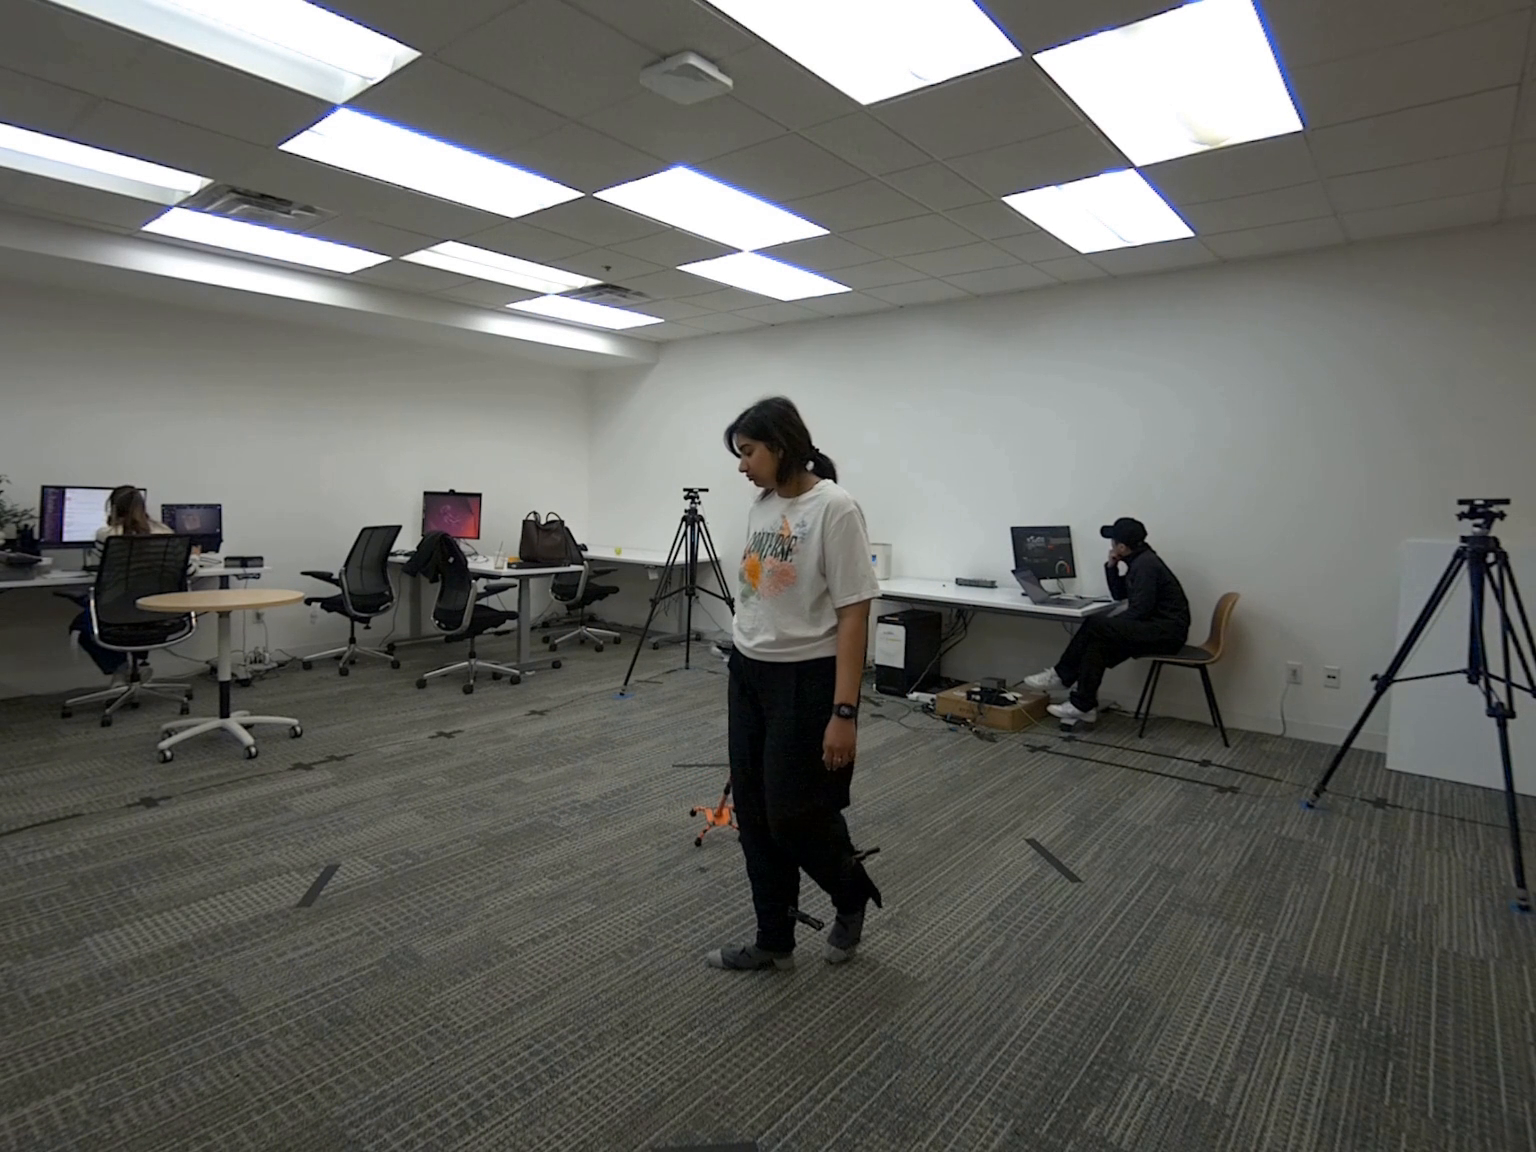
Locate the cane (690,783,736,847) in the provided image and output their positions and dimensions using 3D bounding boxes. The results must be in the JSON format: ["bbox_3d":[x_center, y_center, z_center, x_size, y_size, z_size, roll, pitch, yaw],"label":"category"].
[{"bbox_3d":[-0.126,0.686,3.079,0.203,0.889,0.157,-1,47,-16],"label":"cane"}]
